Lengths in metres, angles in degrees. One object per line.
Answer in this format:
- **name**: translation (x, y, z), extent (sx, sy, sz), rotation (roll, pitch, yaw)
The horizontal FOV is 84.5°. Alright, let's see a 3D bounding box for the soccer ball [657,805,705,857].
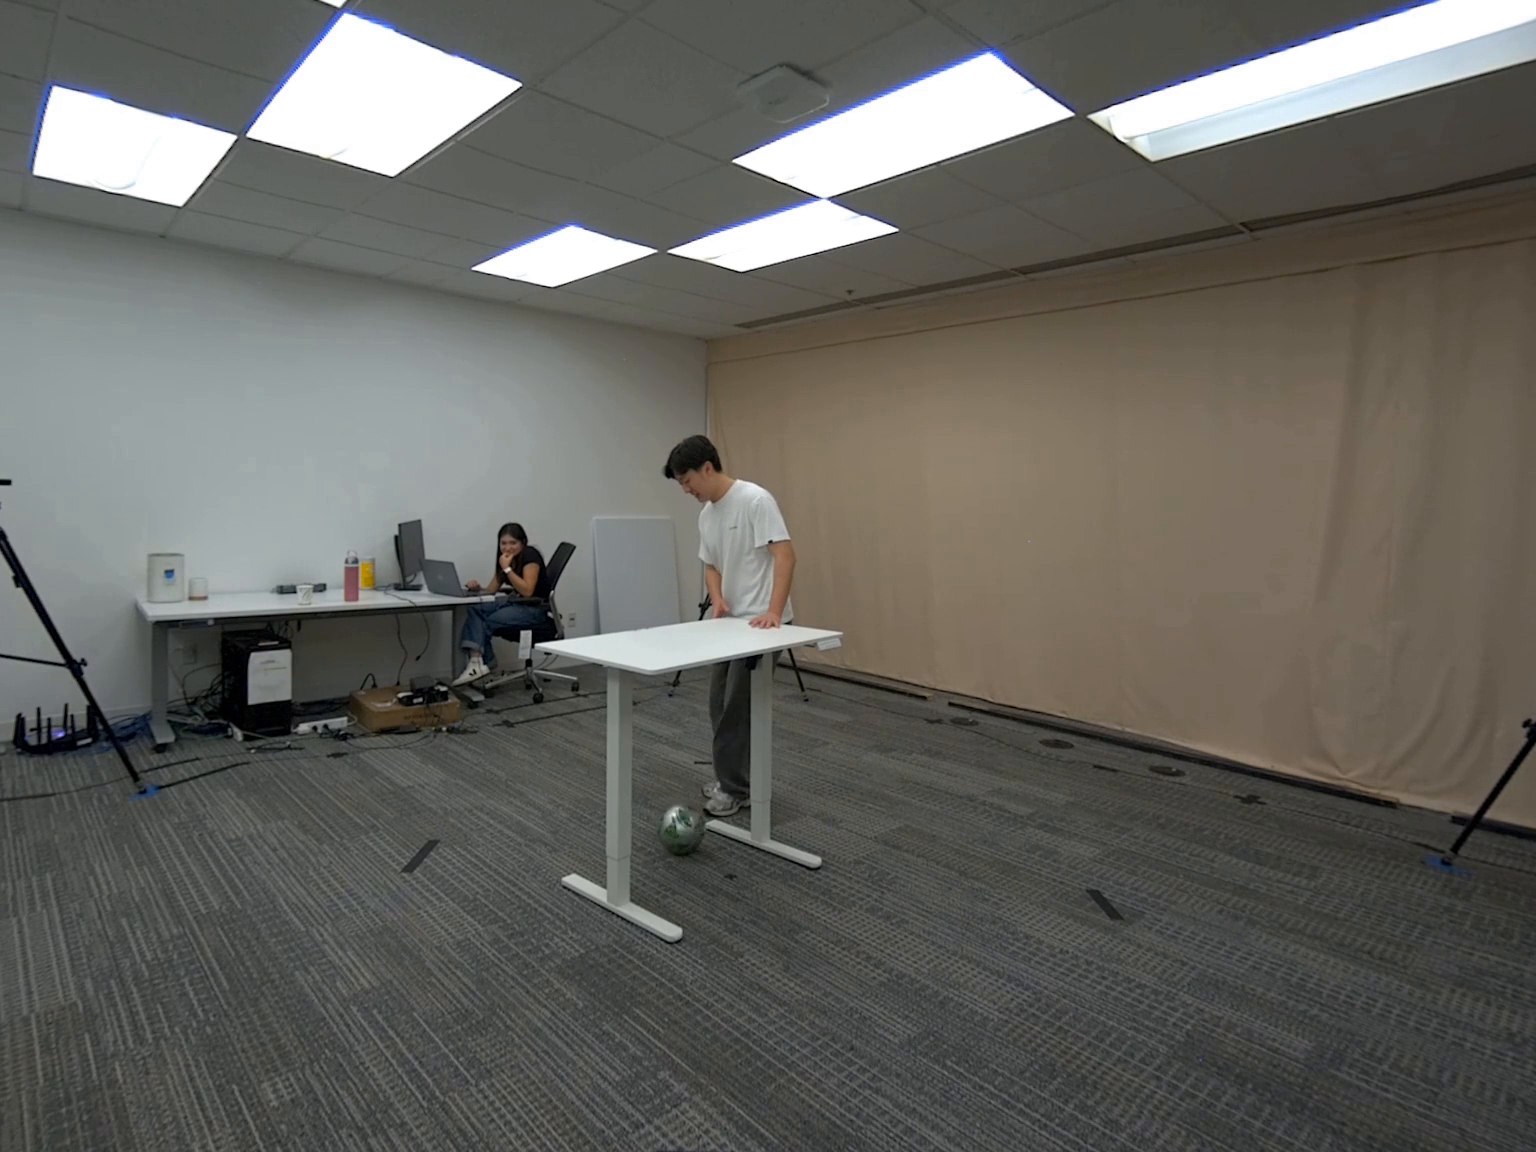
- **soccer ball**: translation (-0.347, 0.994, 3.291), extent (0.187, 0.187, 0.188), rotation (1, 4, -1)
